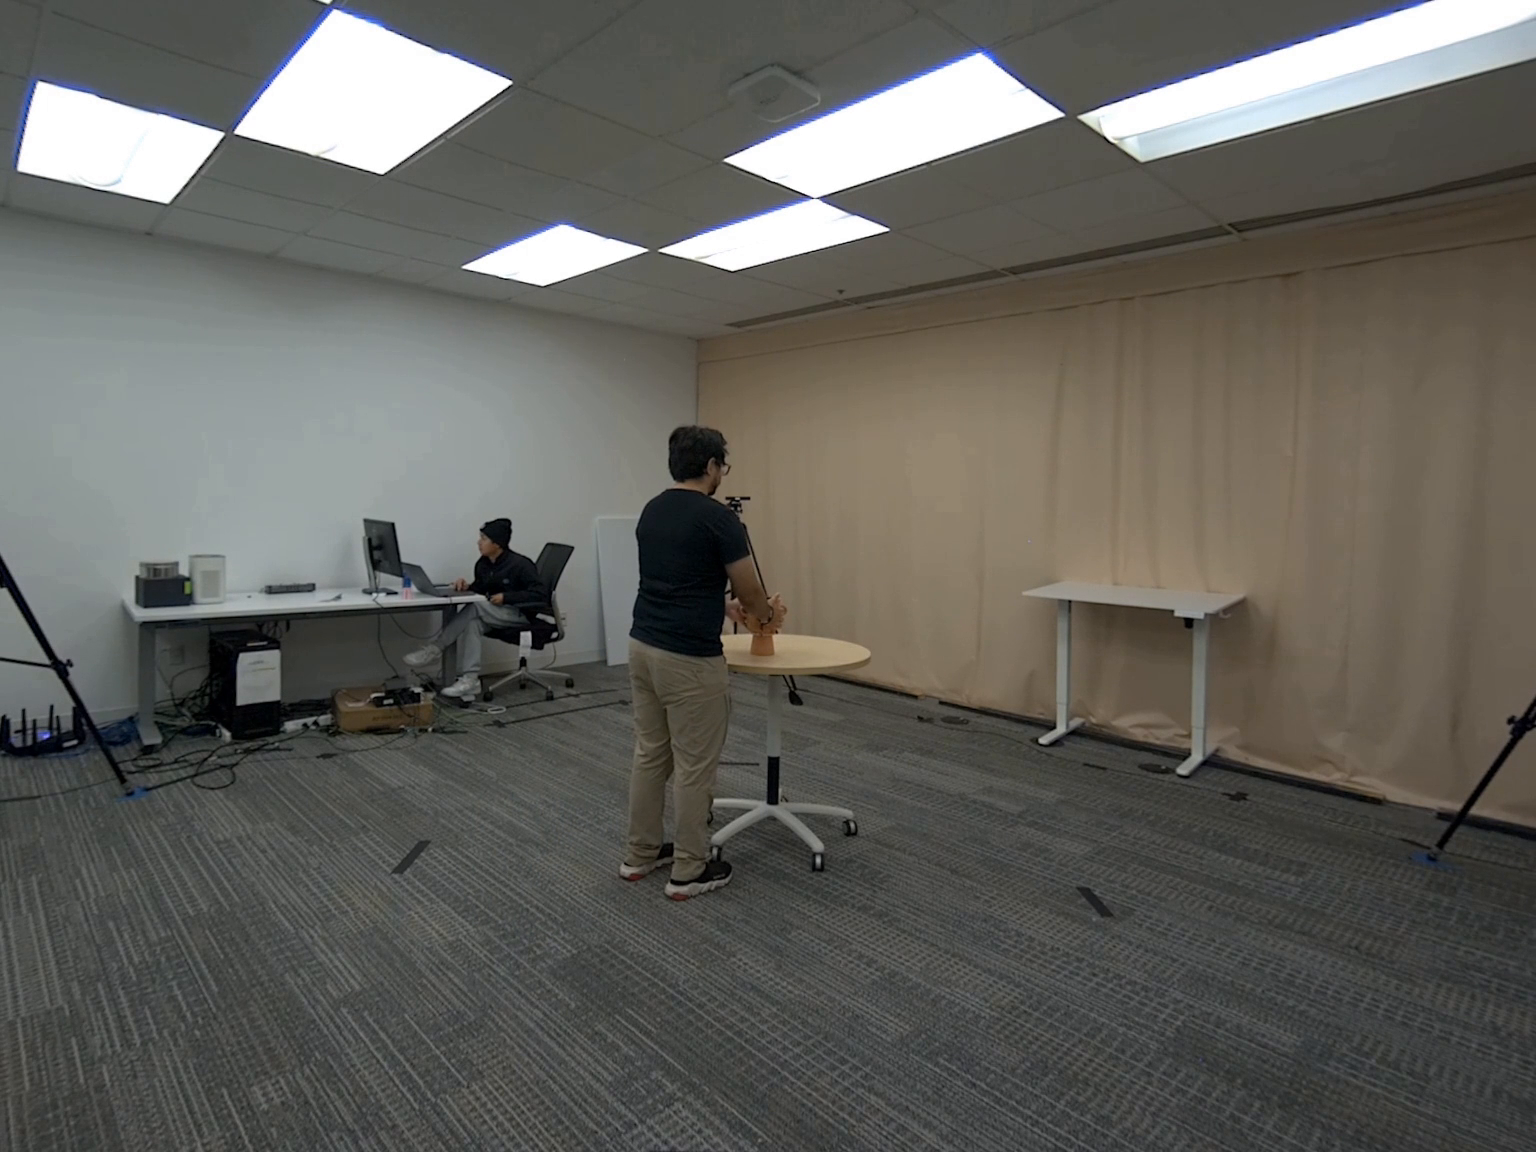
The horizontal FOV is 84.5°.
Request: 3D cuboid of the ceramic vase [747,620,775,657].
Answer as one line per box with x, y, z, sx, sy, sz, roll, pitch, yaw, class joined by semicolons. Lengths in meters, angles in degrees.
-0.026;0.201;3.334;0.161;0.219;0.132;1;3;23;ceramic vase
